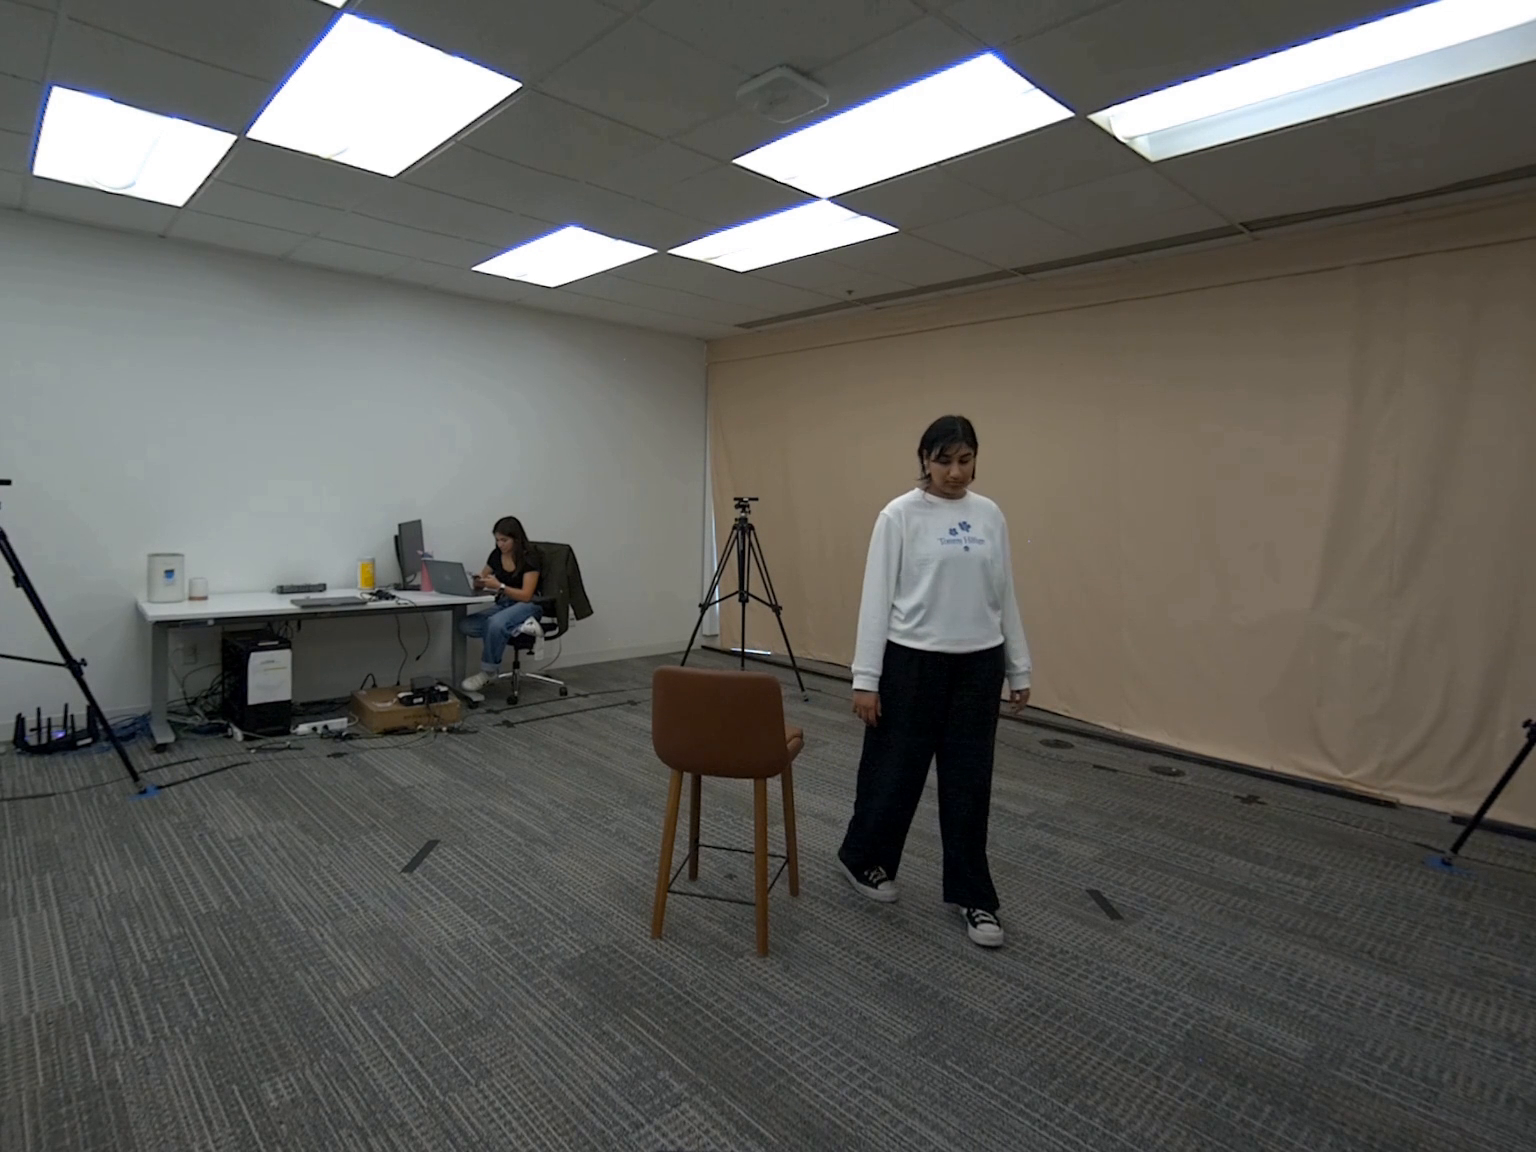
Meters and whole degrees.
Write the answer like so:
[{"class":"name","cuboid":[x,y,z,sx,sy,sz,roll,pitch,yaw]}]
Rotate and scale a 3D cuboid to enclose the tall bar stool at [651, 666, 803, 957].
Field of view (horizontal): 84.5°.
[{"class":"tall bar stool","cuboid":[-0.131,0.705,2.785,0.462,0.886,0.463,2,5,15]}]
